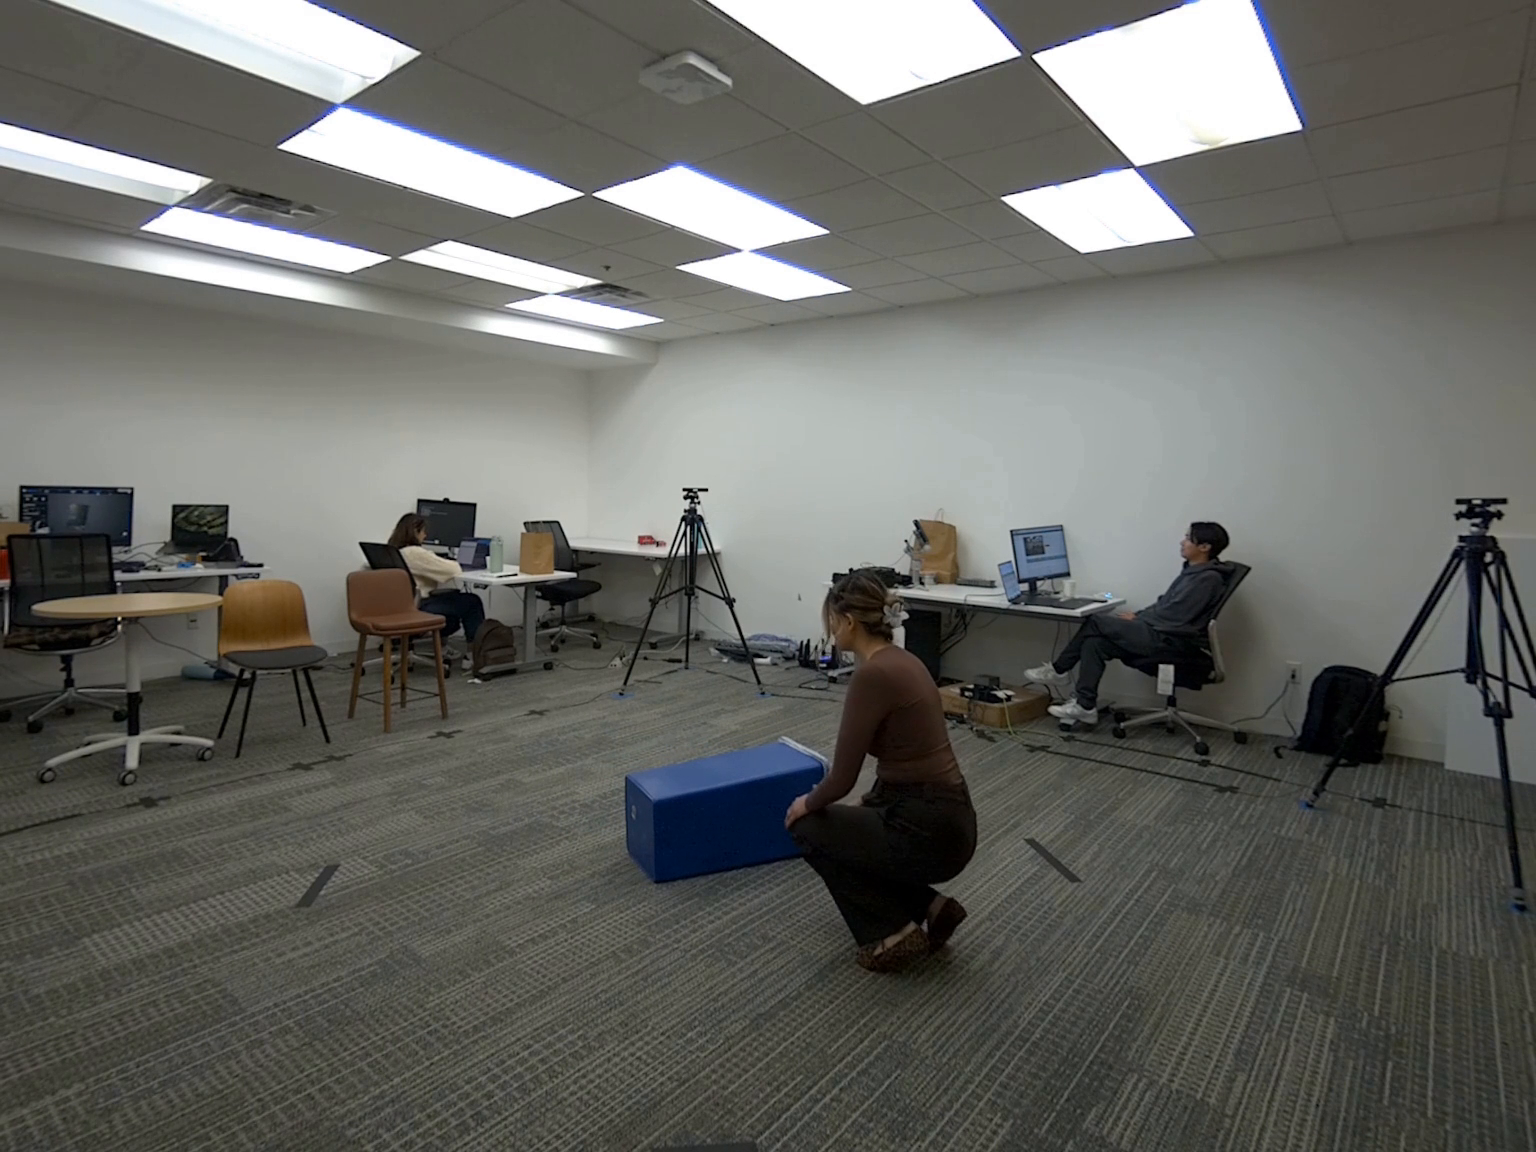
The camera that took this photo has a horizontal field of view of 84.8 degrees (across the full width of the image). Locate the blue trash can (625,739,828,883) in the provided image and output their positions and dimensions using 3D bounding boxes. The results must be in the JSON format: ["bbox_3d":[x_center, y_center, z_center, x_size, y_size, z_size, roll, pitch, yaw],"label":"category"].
[{"bbox_3d":[-0.173,0.884,3.257,0.697,0.376,0.385,-3,7,-26],"label":"blue trash can"}]
